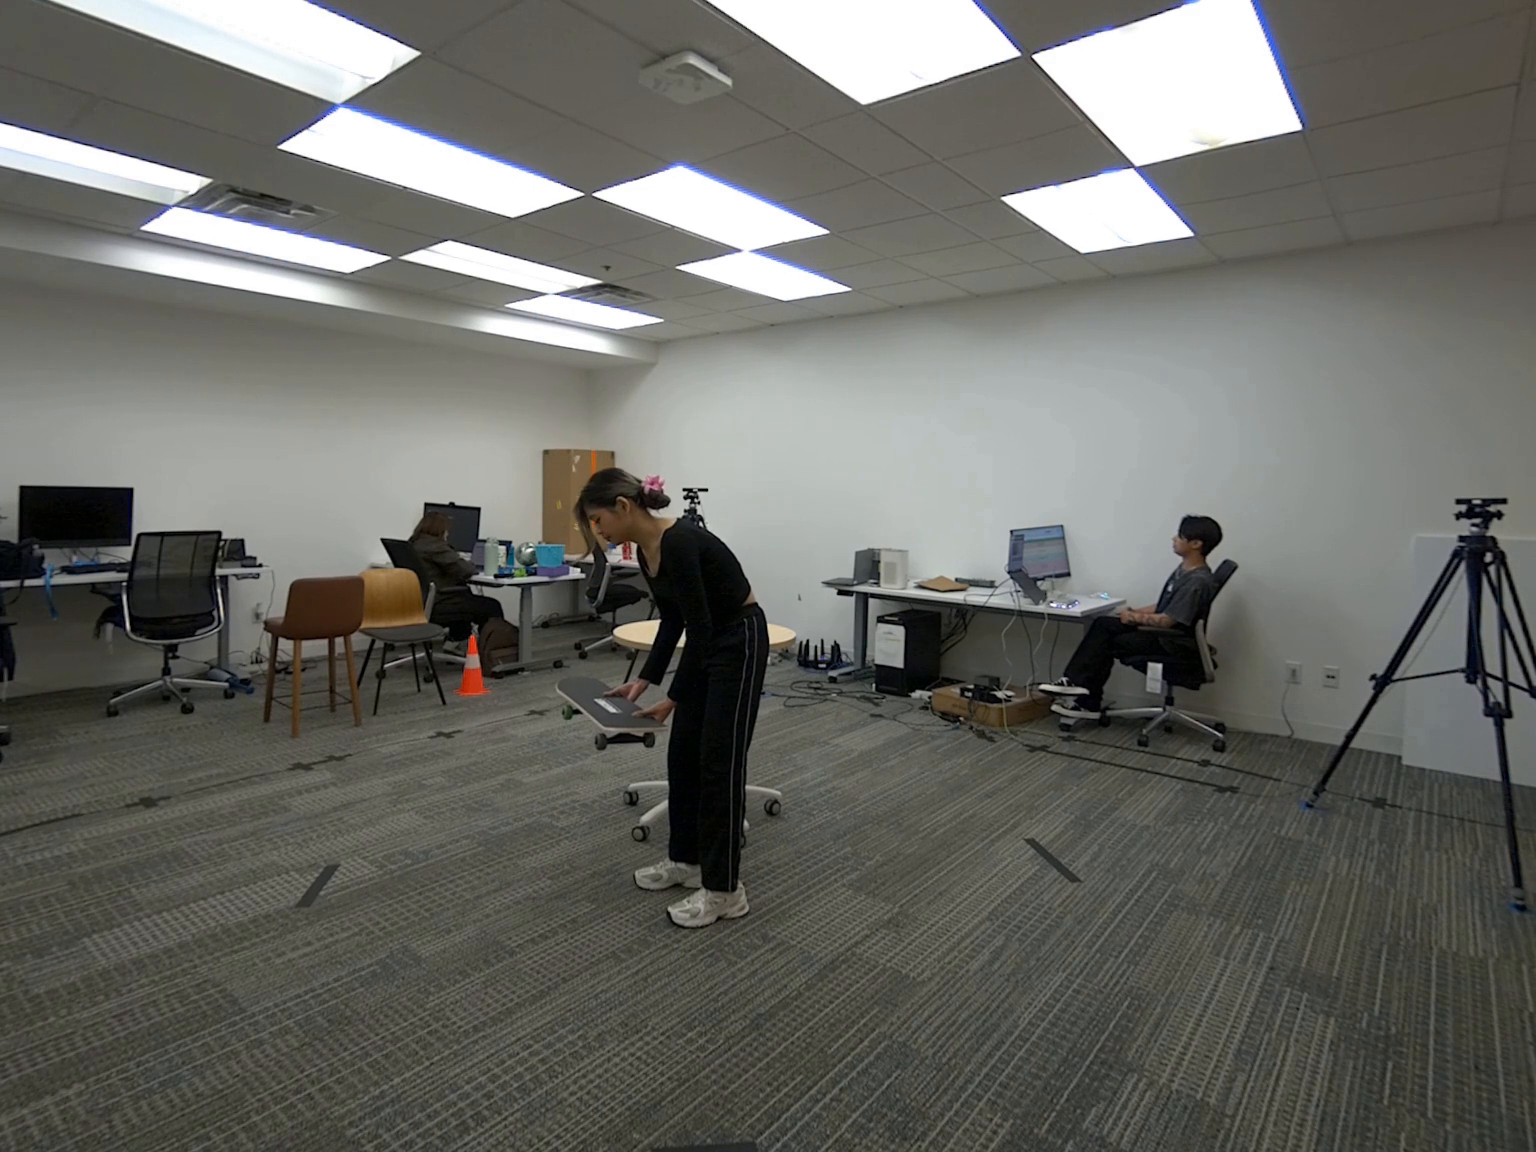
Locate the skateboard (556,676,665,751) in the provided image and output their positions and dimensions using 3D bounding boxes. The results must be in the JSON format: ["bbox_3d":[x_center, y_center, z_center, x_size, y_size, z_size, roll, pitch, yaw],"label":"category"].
[{"bbox_3d":[-0.541,0.450,2.751,0.188,0.110,0.807,3,2,-28],"label":"skateboard"}]
